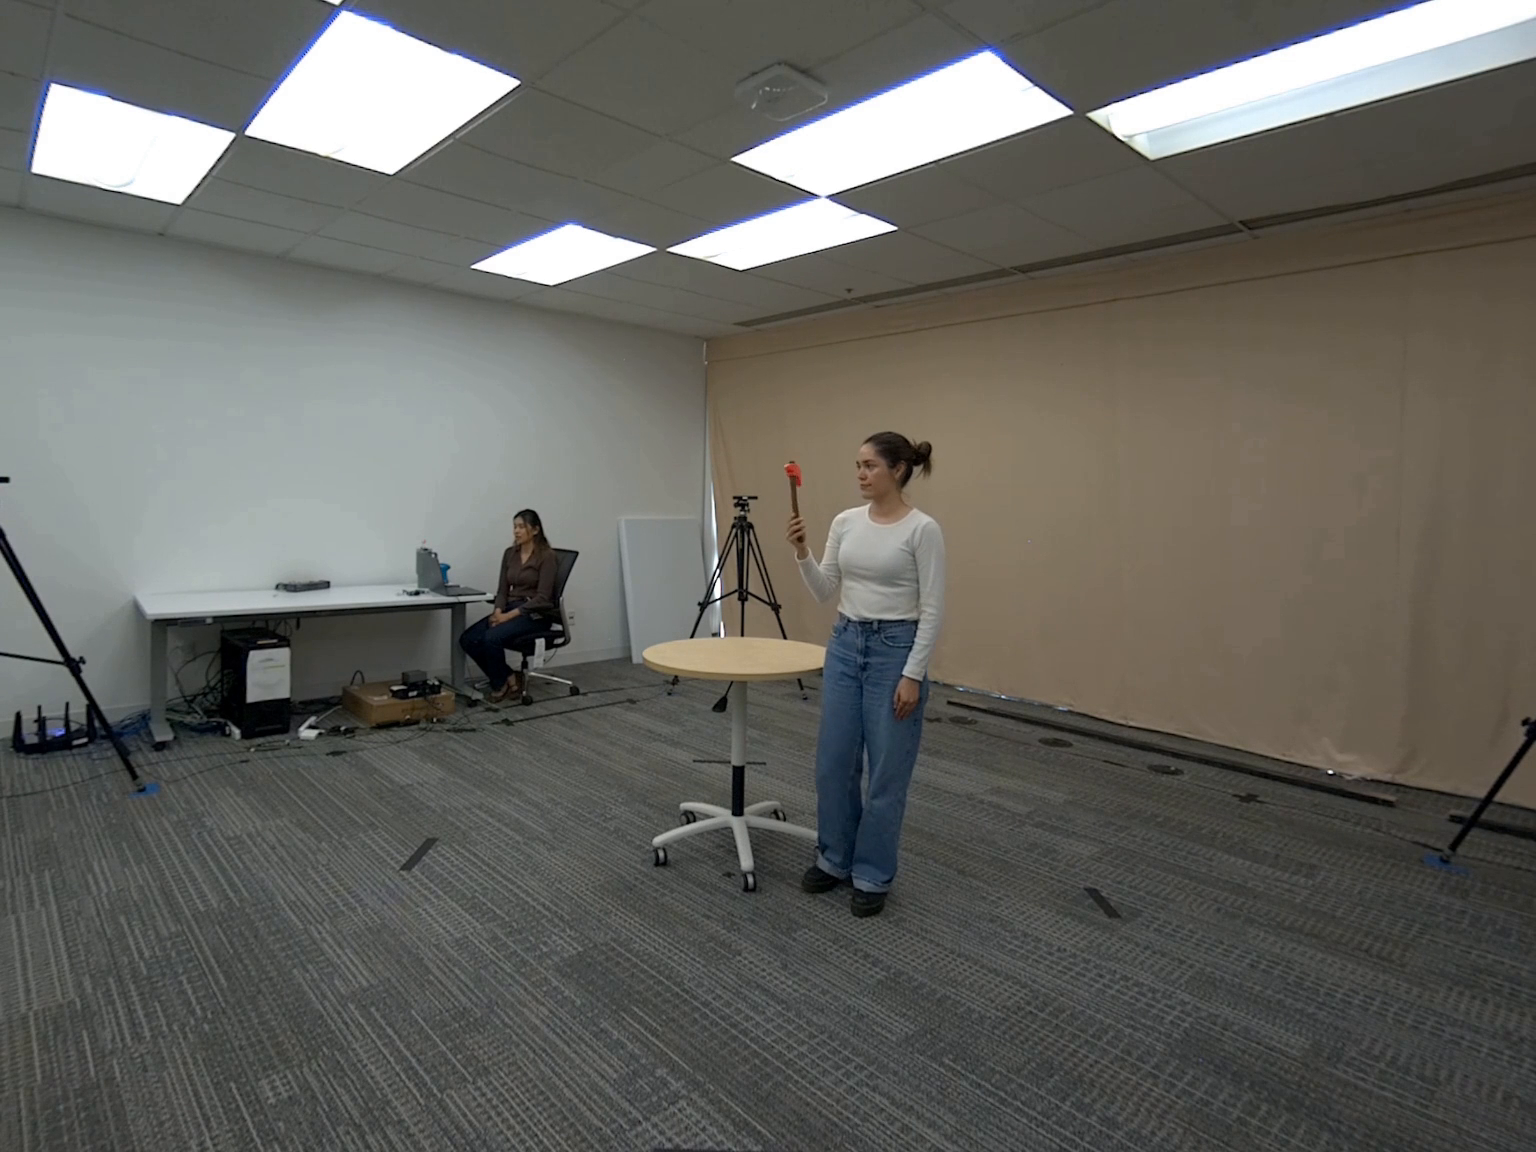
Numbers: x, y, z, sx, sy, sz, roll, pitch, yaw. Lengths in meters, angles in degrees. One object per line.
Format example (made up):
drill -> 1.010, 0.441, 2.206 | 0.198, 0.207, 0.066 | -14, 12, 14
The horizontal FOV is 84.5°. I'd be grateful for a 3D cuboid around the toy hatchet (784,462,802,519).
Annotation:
toy hatchet -> 0.100, -0.260, 2.849 | 0.030, 0.267, 0.130 | -12, 12, 24
